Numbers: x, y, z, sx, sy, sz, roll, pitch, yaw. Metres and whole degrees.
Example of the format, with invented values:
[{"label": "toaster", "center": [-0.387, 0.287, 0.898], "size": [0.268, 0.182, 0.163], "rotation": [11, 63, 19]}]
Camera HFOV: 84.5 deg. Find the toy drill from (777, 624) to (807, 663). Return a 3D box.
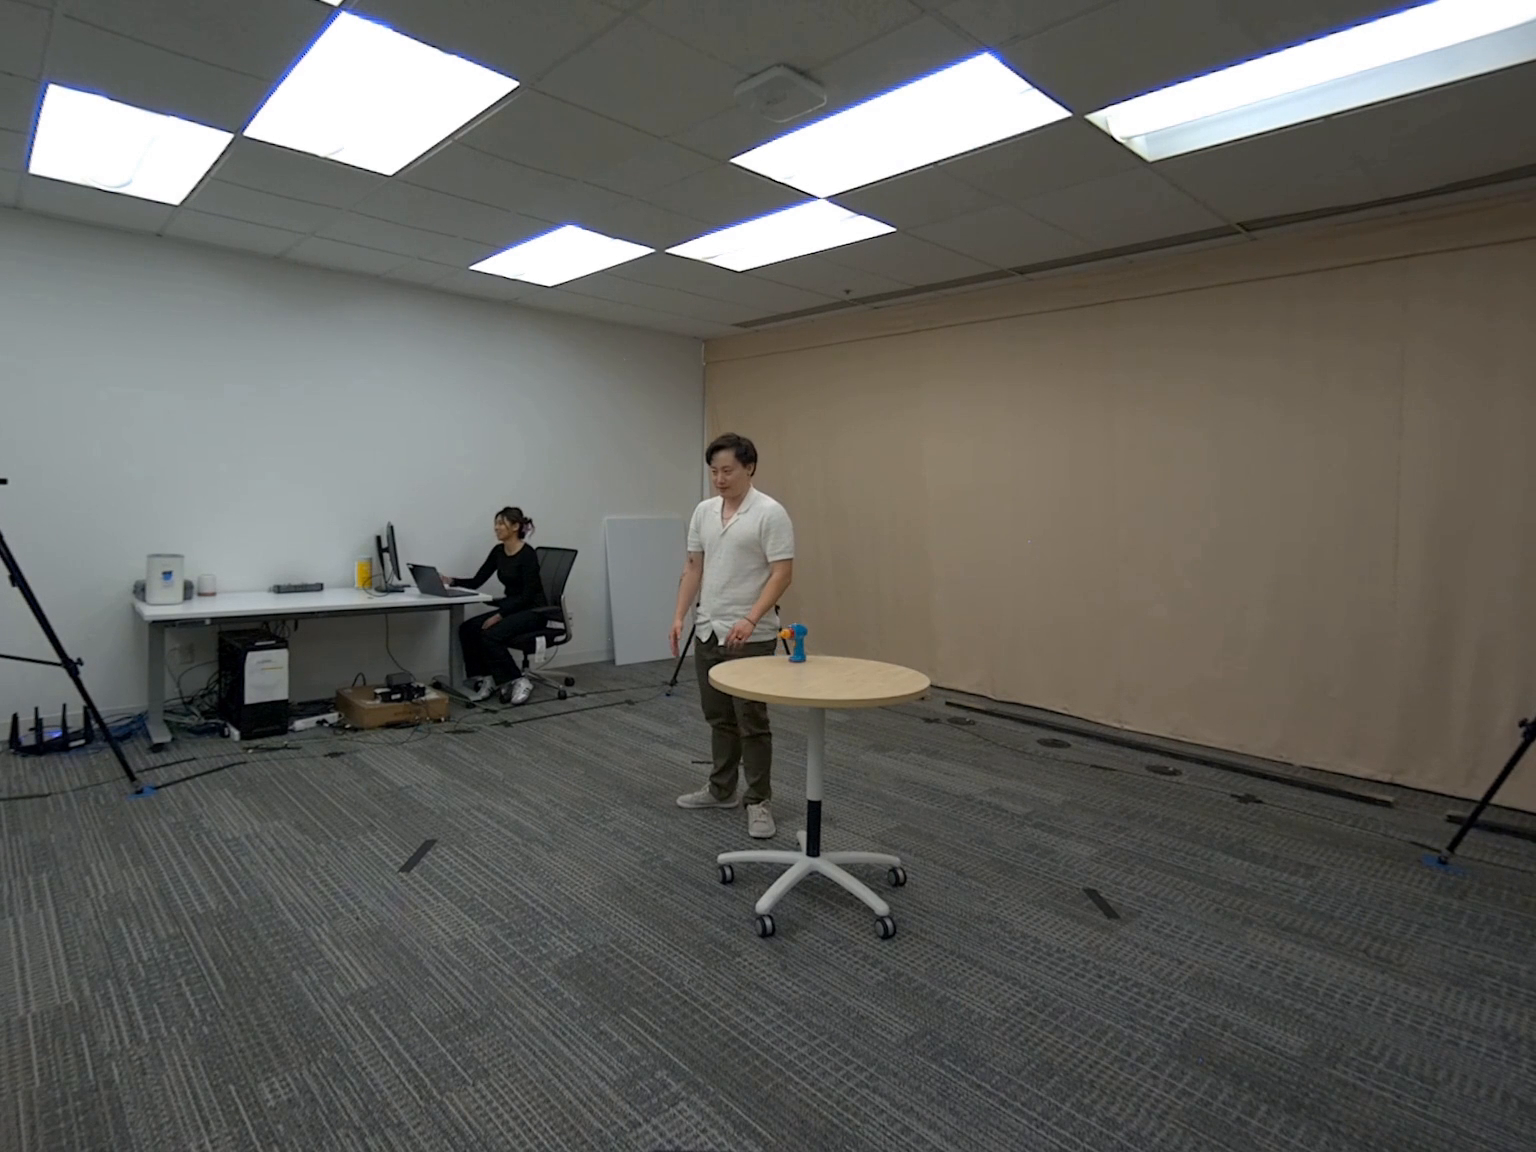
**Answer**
[{"label": "toy drill", "center": [0.090, 0.255, 3.156], "size": [0.062, 0.145, 0.166], "rotation": [3, 5, 34]}]
